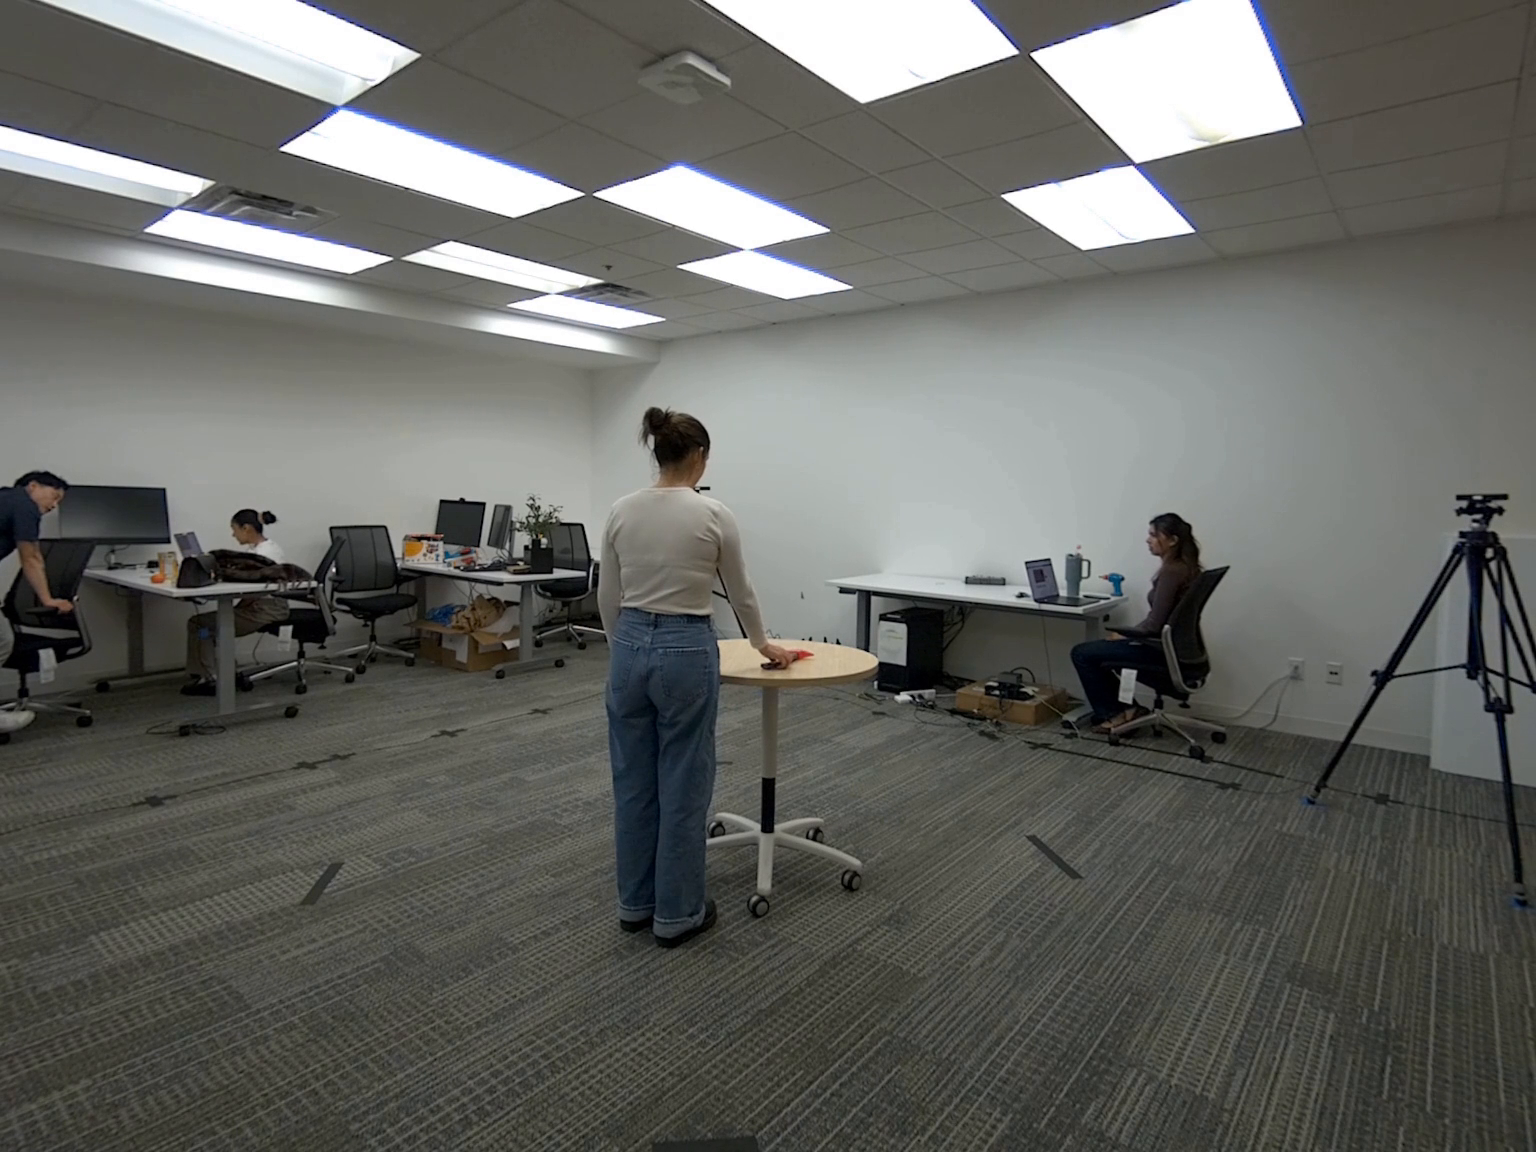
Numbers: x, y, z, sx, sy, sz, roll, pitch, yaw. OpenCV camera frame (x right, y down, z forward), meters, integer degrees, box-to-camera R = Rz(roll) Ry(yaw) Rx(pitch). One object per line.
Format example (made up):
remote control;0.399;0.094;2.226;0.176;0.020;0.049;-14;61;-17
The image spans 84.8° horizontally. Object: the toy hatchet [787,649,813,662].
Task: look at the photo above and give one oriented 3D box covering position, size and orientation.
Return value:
toy hatchet;0.031;0.285;2.973;0.135;0.029;0.262;3;7;39
